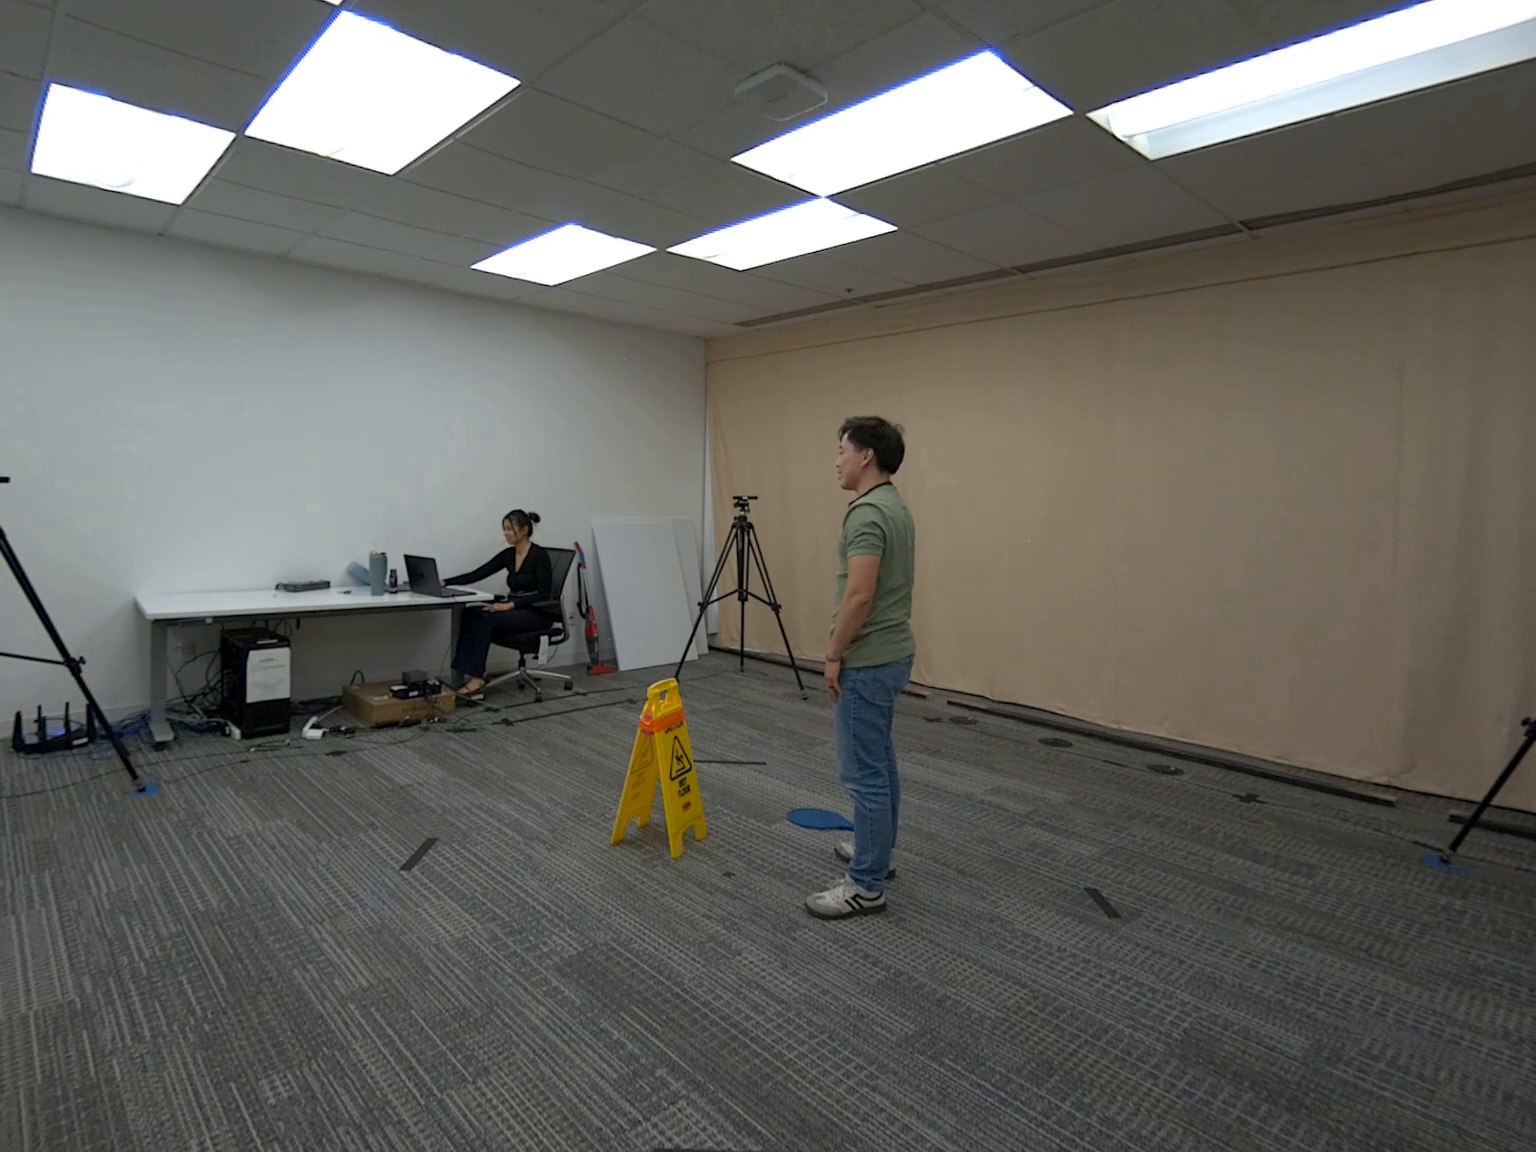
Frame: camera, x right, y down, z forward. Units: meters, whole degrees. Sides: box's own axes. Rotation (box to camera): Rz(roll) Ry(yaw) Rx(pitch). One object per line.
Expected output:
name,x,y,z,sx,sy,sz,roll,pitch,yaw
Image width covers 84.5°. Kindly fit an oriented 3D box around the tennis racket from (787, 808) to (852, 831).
tennis racket,0.270,1.054,3.611,0.443,0.031,0.209,3,6,35
